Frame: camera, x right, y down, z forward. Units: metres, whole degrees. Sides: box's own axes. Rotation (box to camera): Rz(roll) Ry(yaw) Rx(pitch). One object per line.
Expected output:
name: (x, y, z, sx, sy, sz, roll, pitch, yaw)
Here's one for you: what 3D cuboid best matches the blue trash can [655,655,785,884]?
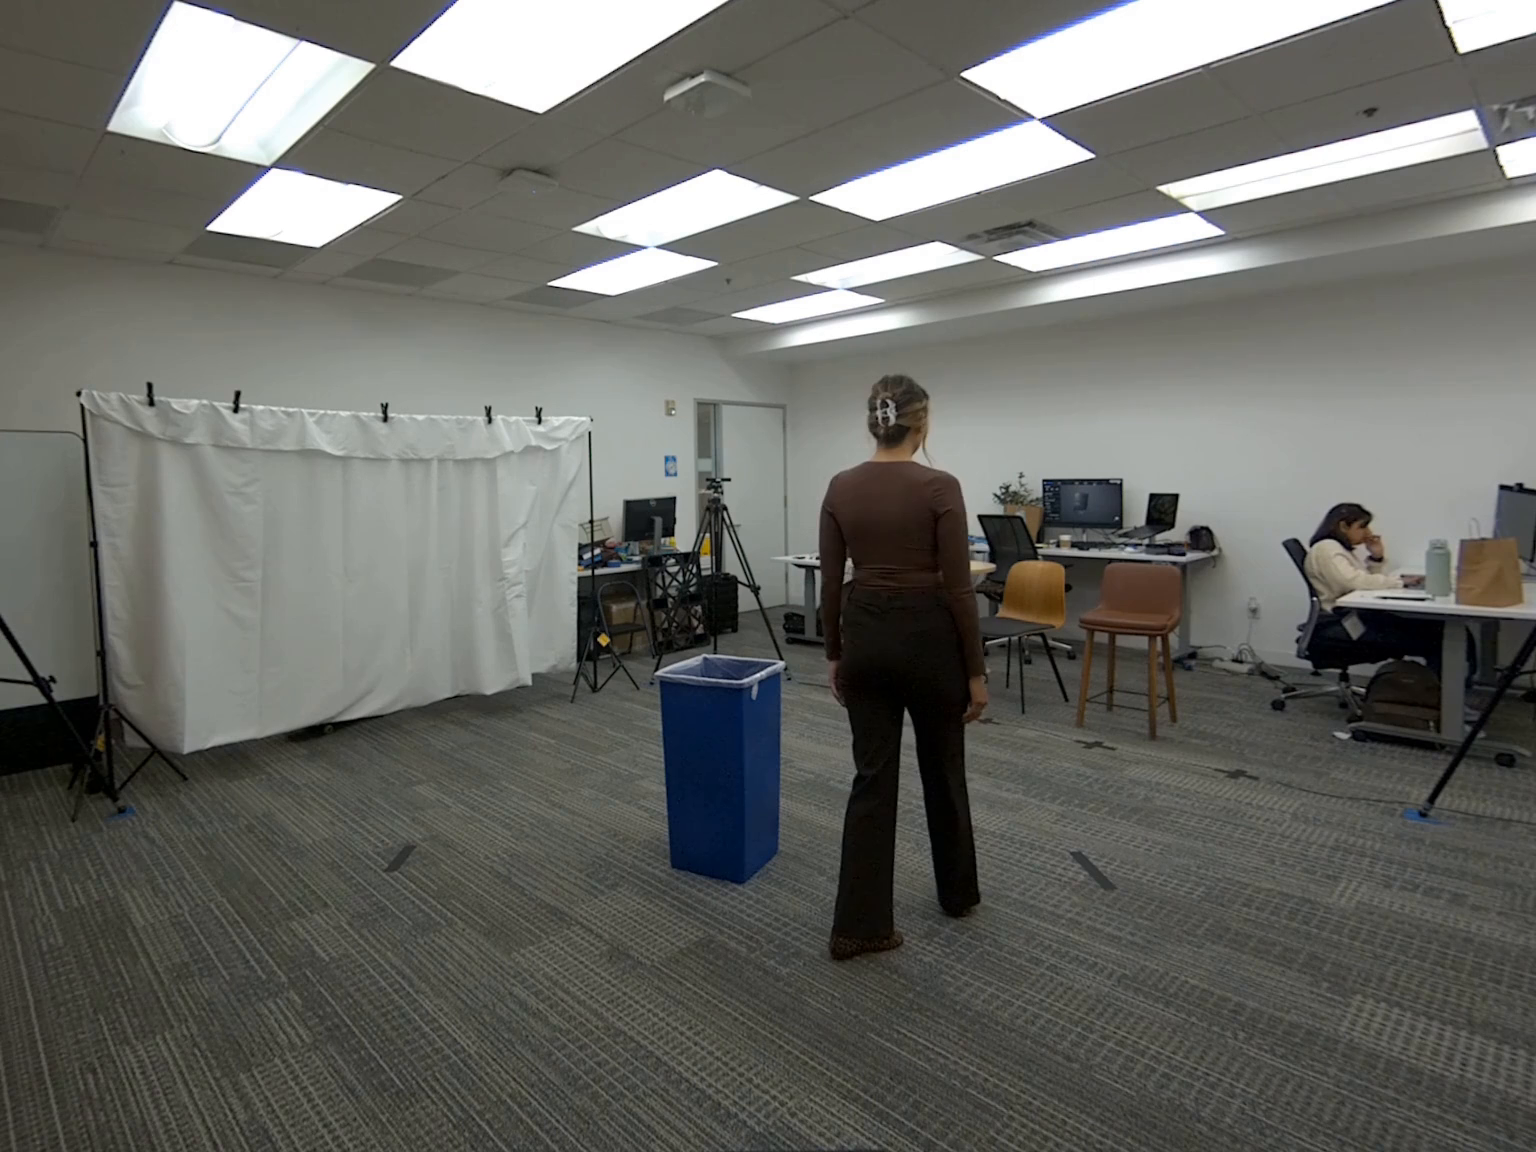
blue trash can: (-0.166, 0.682, 3.120, 0.383, 0.711, 0.370, 2, 4, 27)
